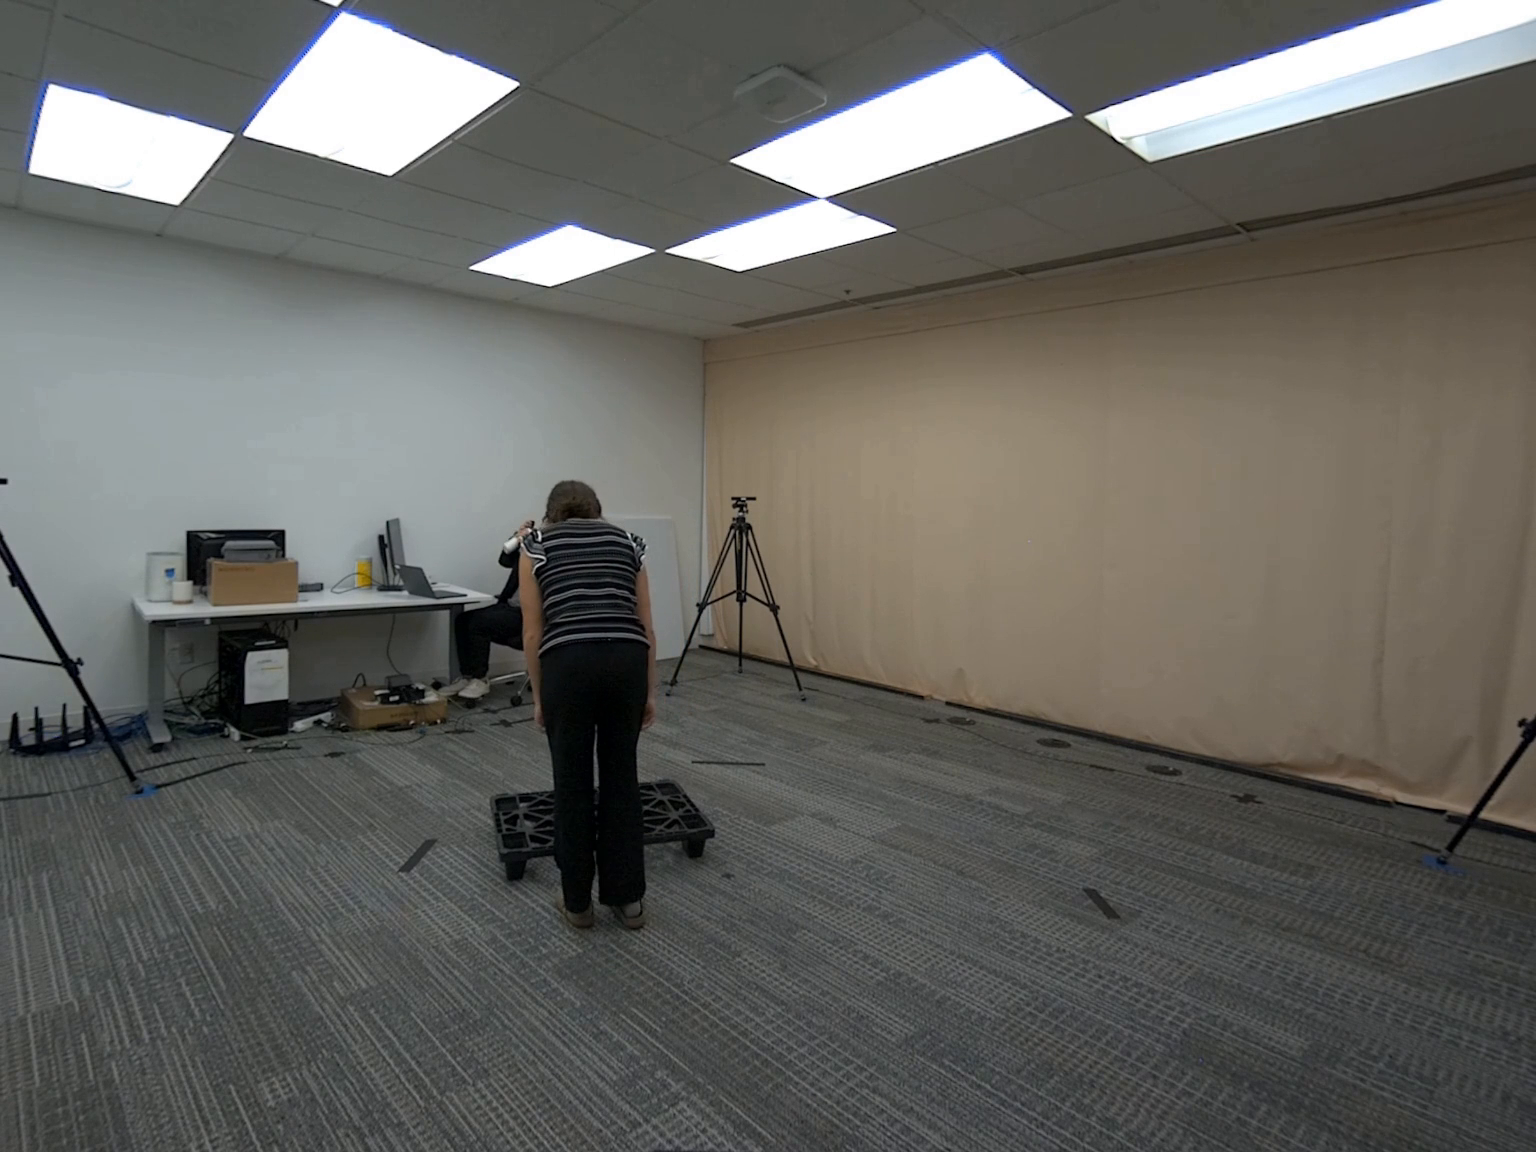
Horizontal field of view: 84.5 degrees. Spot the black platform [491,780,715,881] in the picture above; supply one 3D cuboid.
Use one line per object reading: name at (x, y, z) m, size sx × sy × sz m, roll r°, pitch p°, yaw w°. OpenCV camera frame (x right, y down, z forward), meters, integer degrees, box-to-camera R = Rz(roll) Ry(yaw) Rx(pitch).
black platform at (-0.689, 1.004, 3.354) m, size 0.793 × 0.143 × 0.616 m, roll 0°, pitch 4°, yaw -20°
